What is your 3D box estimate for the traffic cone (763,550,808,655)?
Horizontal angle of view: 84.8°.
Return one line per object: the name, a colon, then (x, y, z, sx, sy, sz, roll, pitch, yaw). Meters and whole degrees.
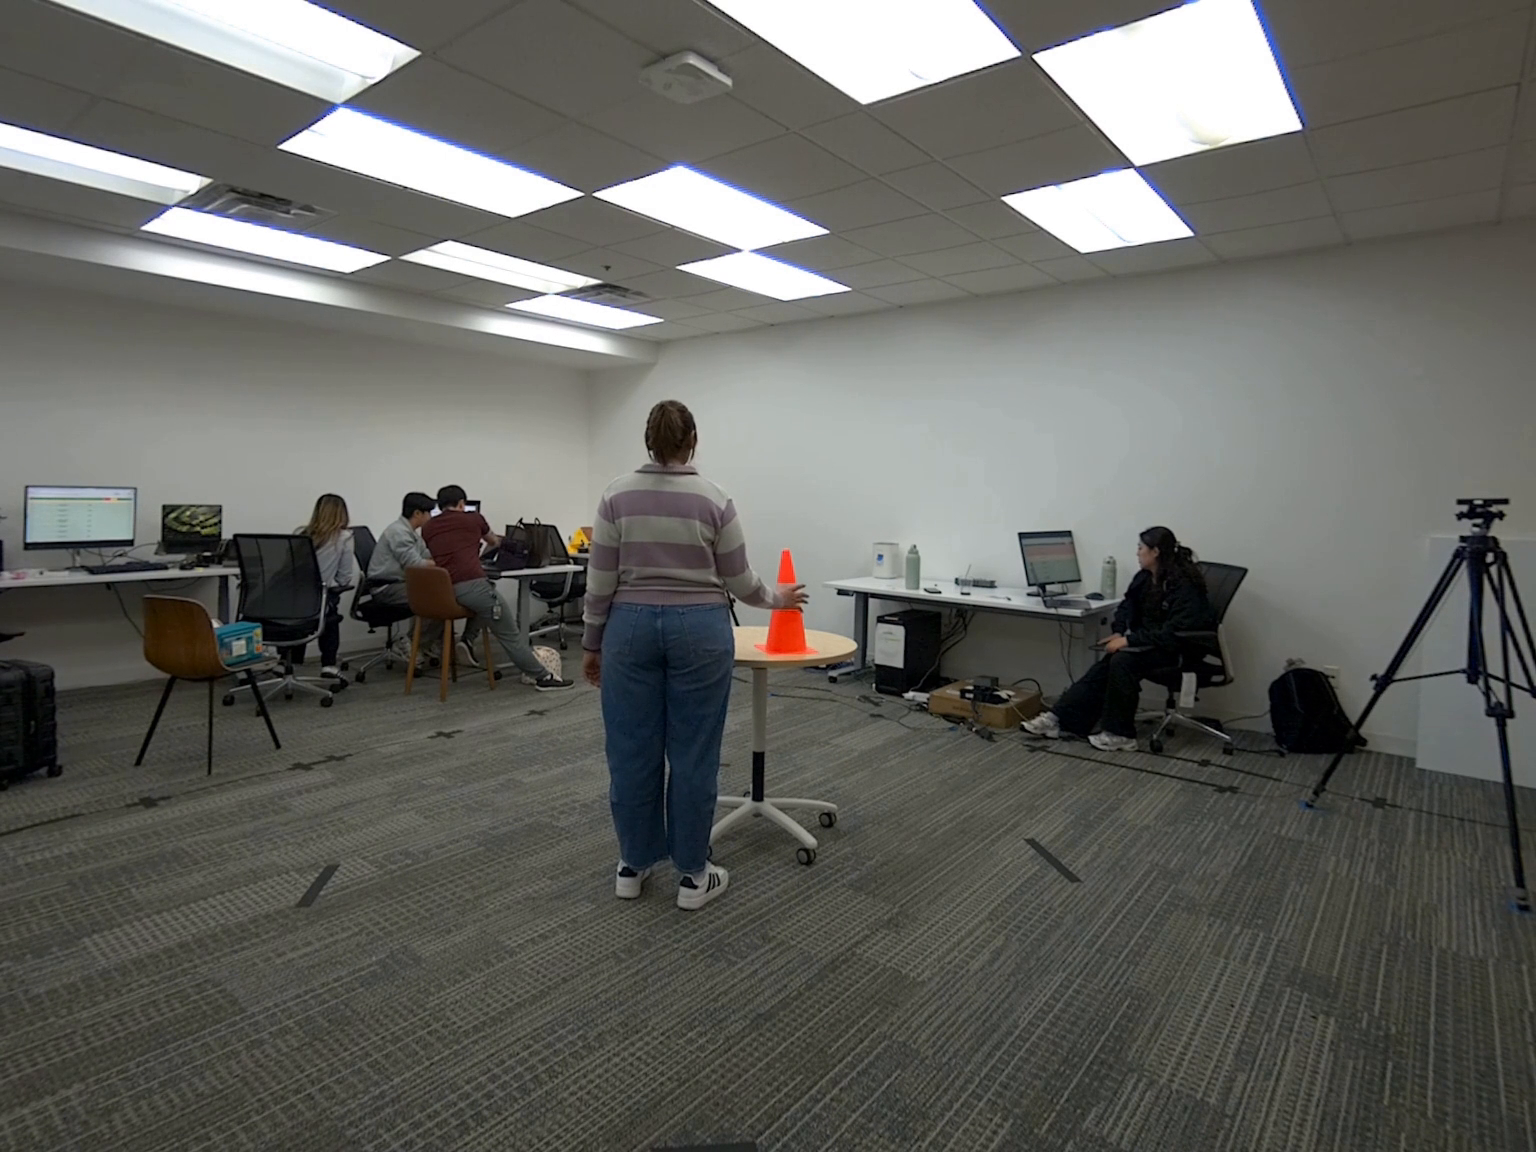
traffic cone: (0.065, 0.094, 3.231, 0.199, 0.382, 0.210, -1, 6, -19)
